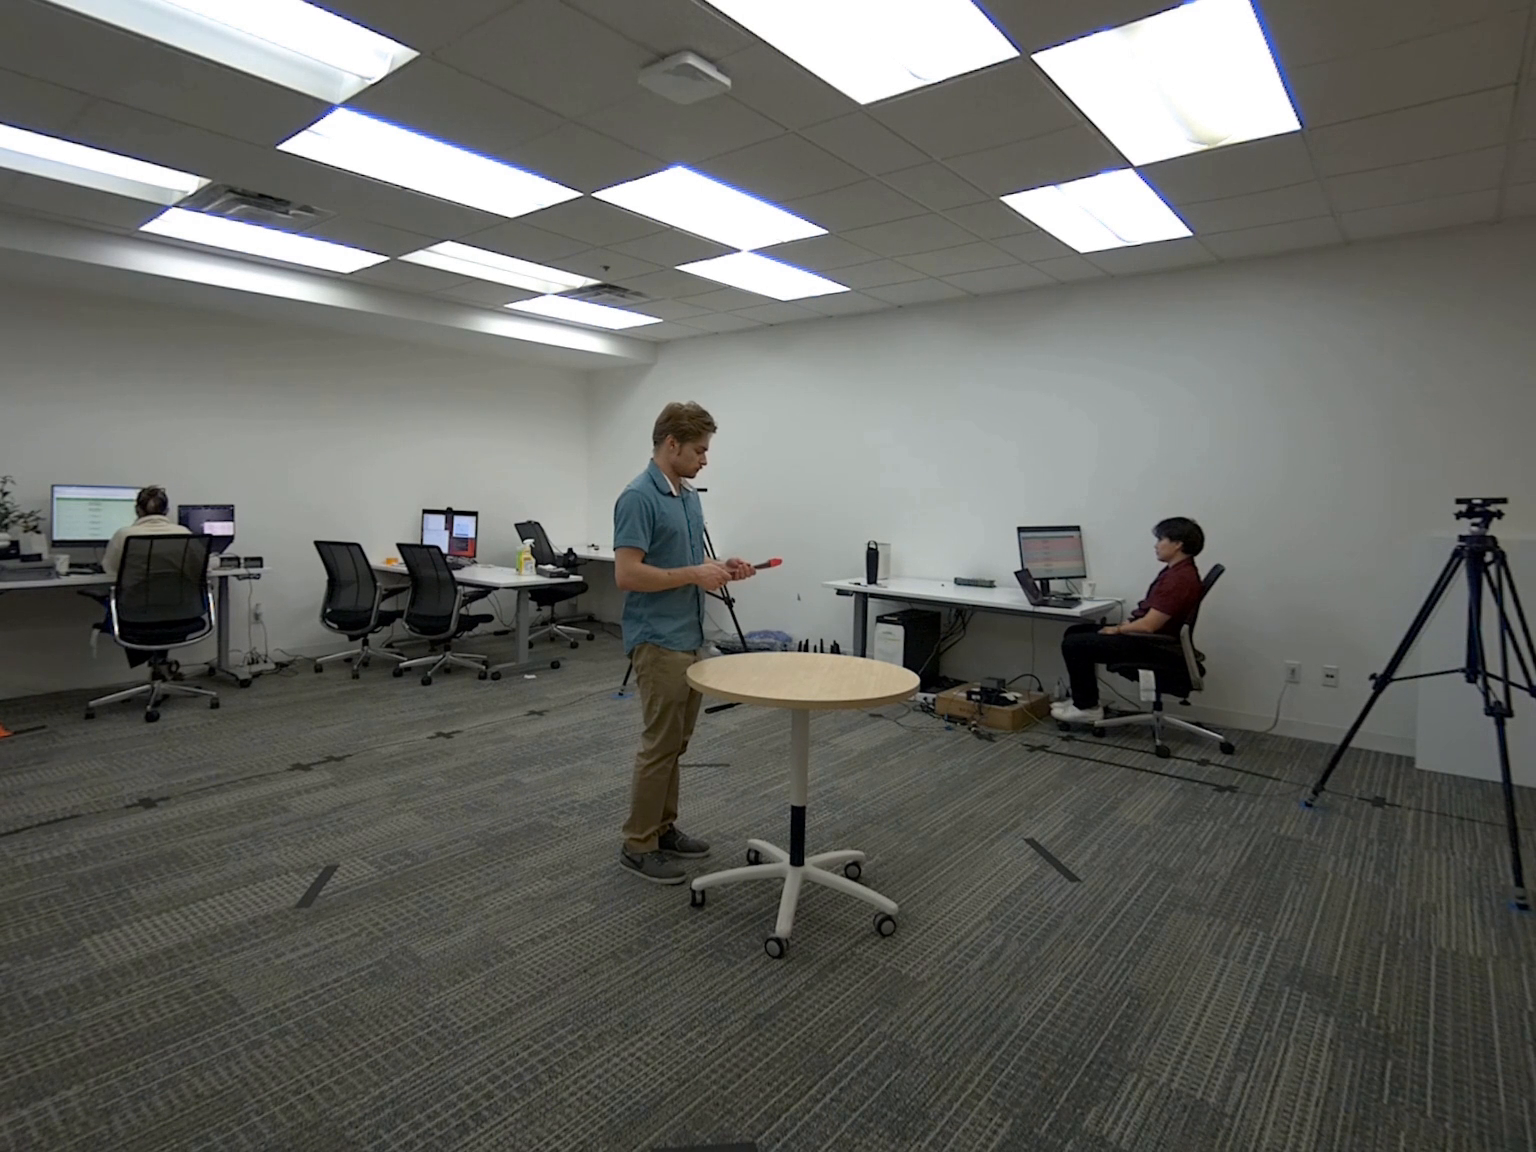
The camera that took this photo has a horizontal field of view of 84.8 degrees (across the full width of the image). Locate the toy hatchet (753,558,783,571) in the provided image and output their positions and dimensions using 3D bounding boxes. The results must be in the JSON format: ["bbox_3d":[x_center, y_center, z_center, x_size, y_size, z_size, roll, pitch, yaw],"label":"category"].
[{"bbox_3d":[-0.098,-0.023,3.126,0.271,0.030,0.130,-13,-2,4],"label":"toy hatchet"}]
